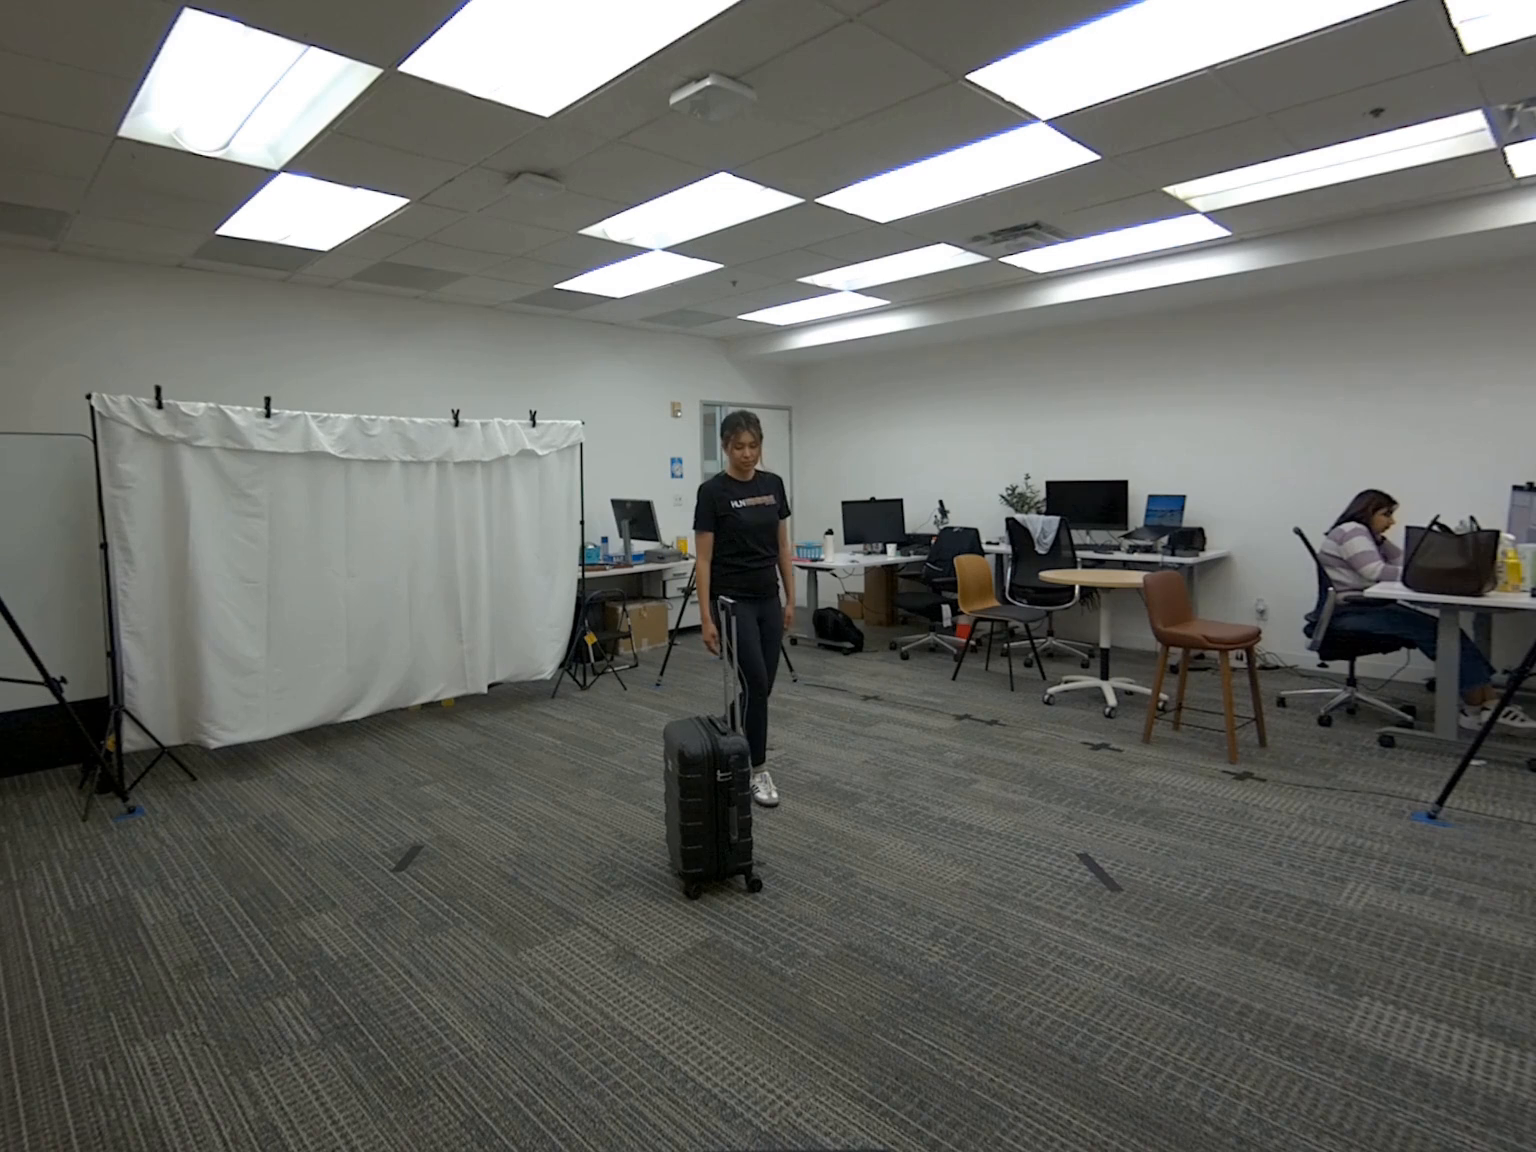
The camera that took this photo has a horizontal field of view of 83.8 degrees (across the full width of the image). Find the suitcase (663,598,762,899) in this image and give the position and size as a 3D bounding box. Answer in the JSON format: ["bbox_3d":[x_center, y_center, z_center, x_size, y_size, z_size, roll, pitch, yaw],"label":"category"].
[{"bbox_3d":[-0.228,0.588,2.984,0.254,0.974,0.390,-4,5,-13],"label":"suitcase"}]
